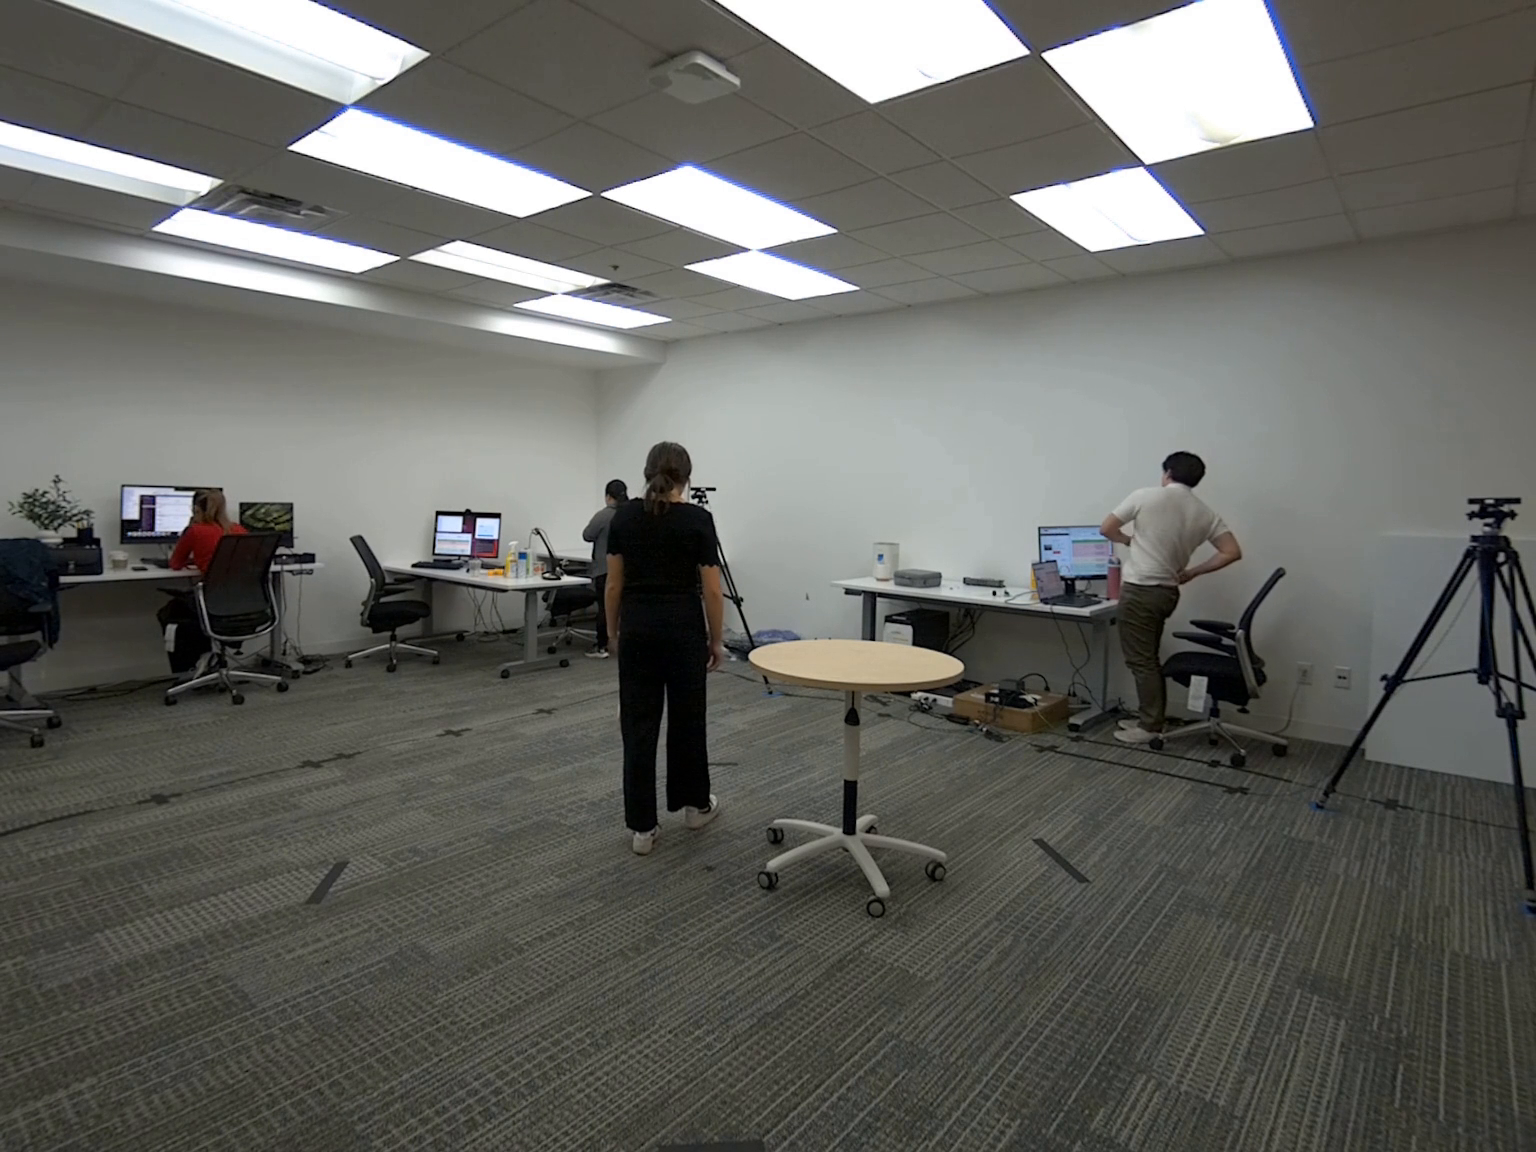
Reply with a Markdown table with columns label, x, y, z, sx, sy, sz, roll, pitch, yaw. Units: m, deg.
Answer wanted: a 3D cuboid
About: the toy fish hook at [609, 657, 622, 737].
| label | x | y | z | sx | sy | sz | roll | pitch | yaw |
| --- | --- | --- | --- | --- | --- | --- | --- | --- | --- |
| toy fish hook | -0.609 | 0.397 | 3.575 | 0.047 | 0.504 | 0.230 | 6 | 5 | -18 |
